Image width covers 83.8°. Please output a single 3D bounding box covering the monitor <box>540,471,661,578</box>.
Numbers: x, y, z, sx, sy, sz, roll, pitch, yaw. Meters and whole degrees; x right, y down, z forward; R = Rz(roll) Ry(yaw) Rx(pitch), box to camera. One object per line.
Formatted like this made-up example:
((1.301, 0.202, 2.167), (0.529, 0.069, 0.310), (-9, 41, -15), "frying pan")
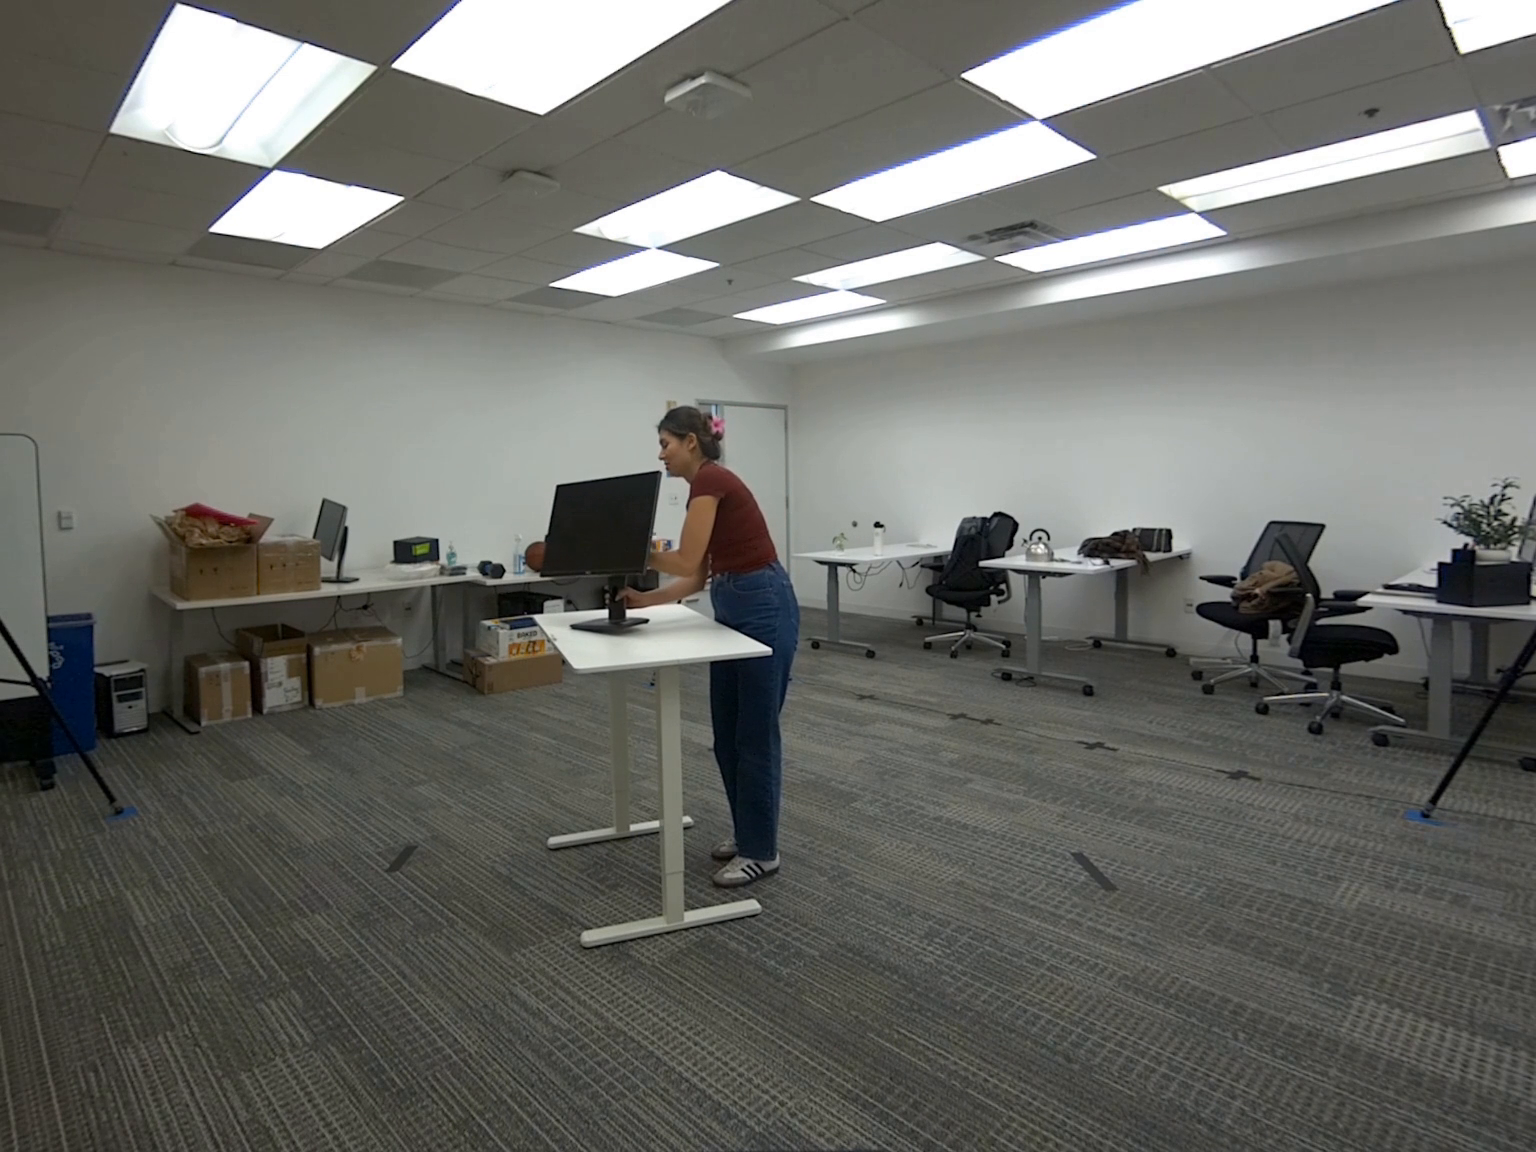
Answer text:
((-0.560, -0.082, 2.979), (0.553, 0.523, 0.182), (-2, 0, 37), "monitor")
